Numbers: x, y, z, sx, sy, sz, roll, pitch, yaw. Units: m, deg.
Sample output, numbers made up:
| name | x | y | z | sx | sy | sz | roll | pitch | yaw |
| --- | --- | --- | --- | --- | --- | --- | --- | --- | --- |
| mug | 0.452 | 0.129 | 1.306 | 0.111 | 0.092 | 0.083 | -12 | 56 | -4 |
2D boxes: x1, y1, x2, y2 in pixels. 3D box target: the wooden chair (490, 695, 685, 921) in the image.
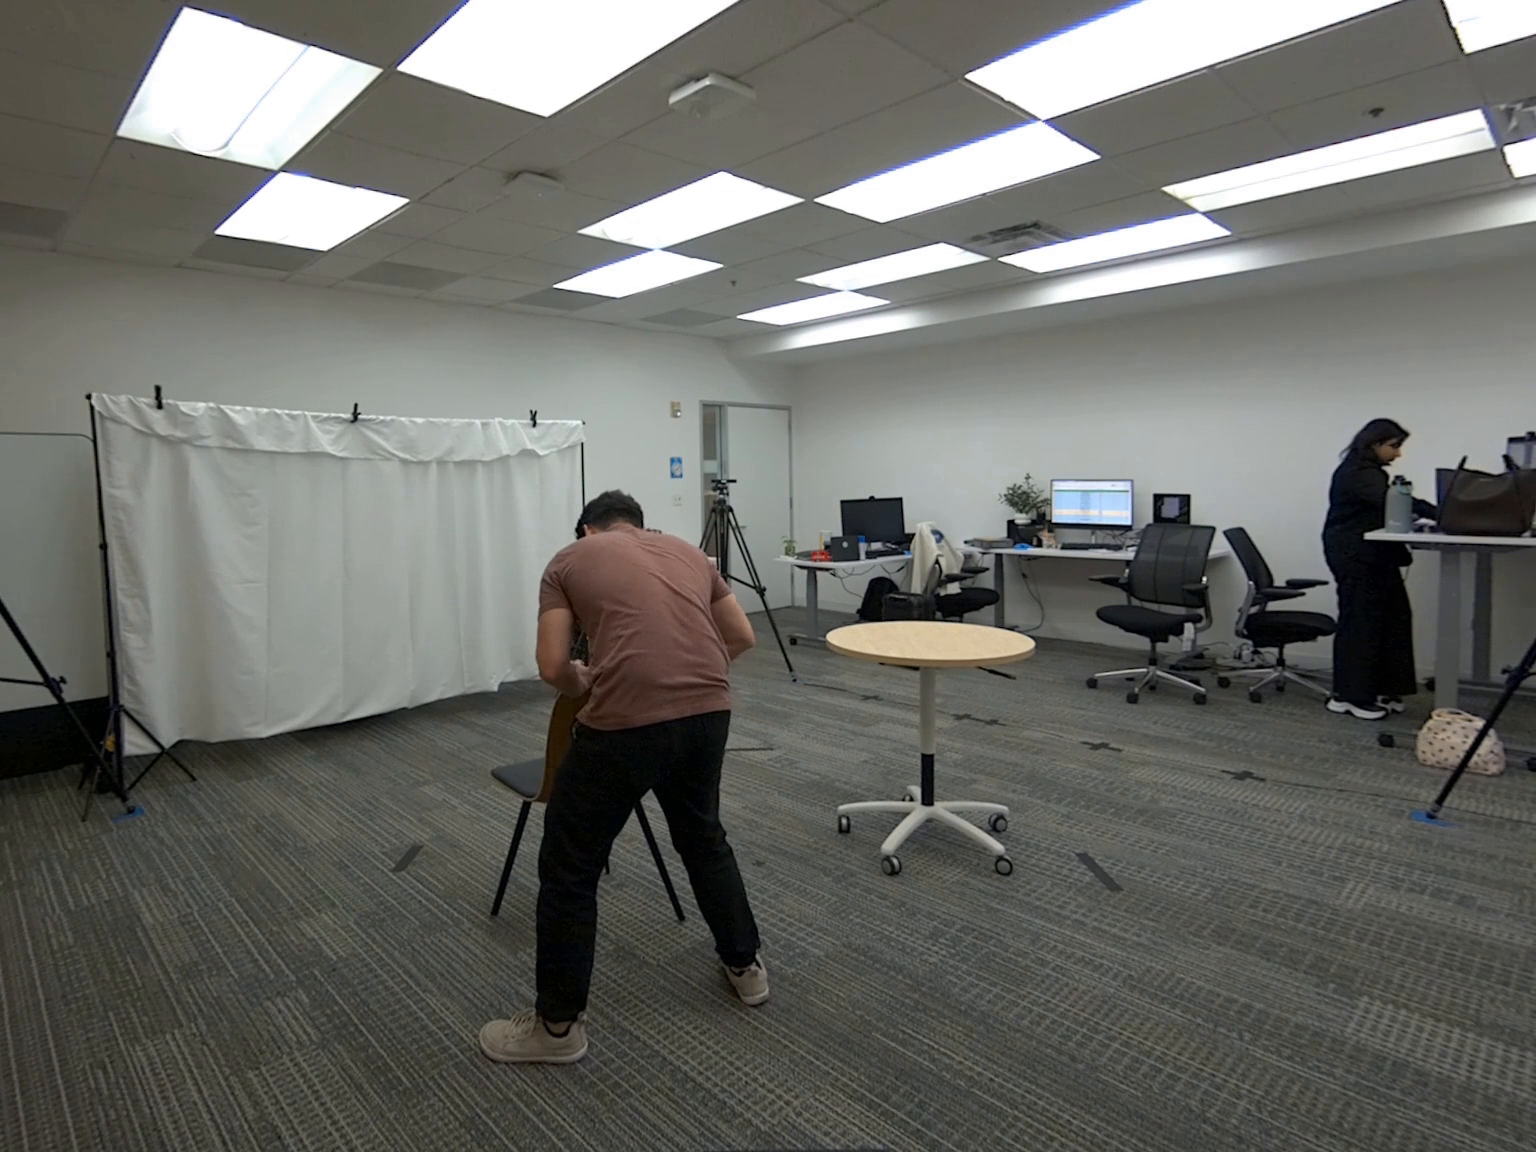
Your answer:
| name | x | y | z | sx | sy | sz | roll | pitch | yaw |
| --- | --- | --- | --- | --- | --- | --- | --- | --- | --- |
| wooden chair | -0.589 | 0.674 | 2.722 | 0.465 | 0.871 | 0.541 | -5 | 10 | -41 |
